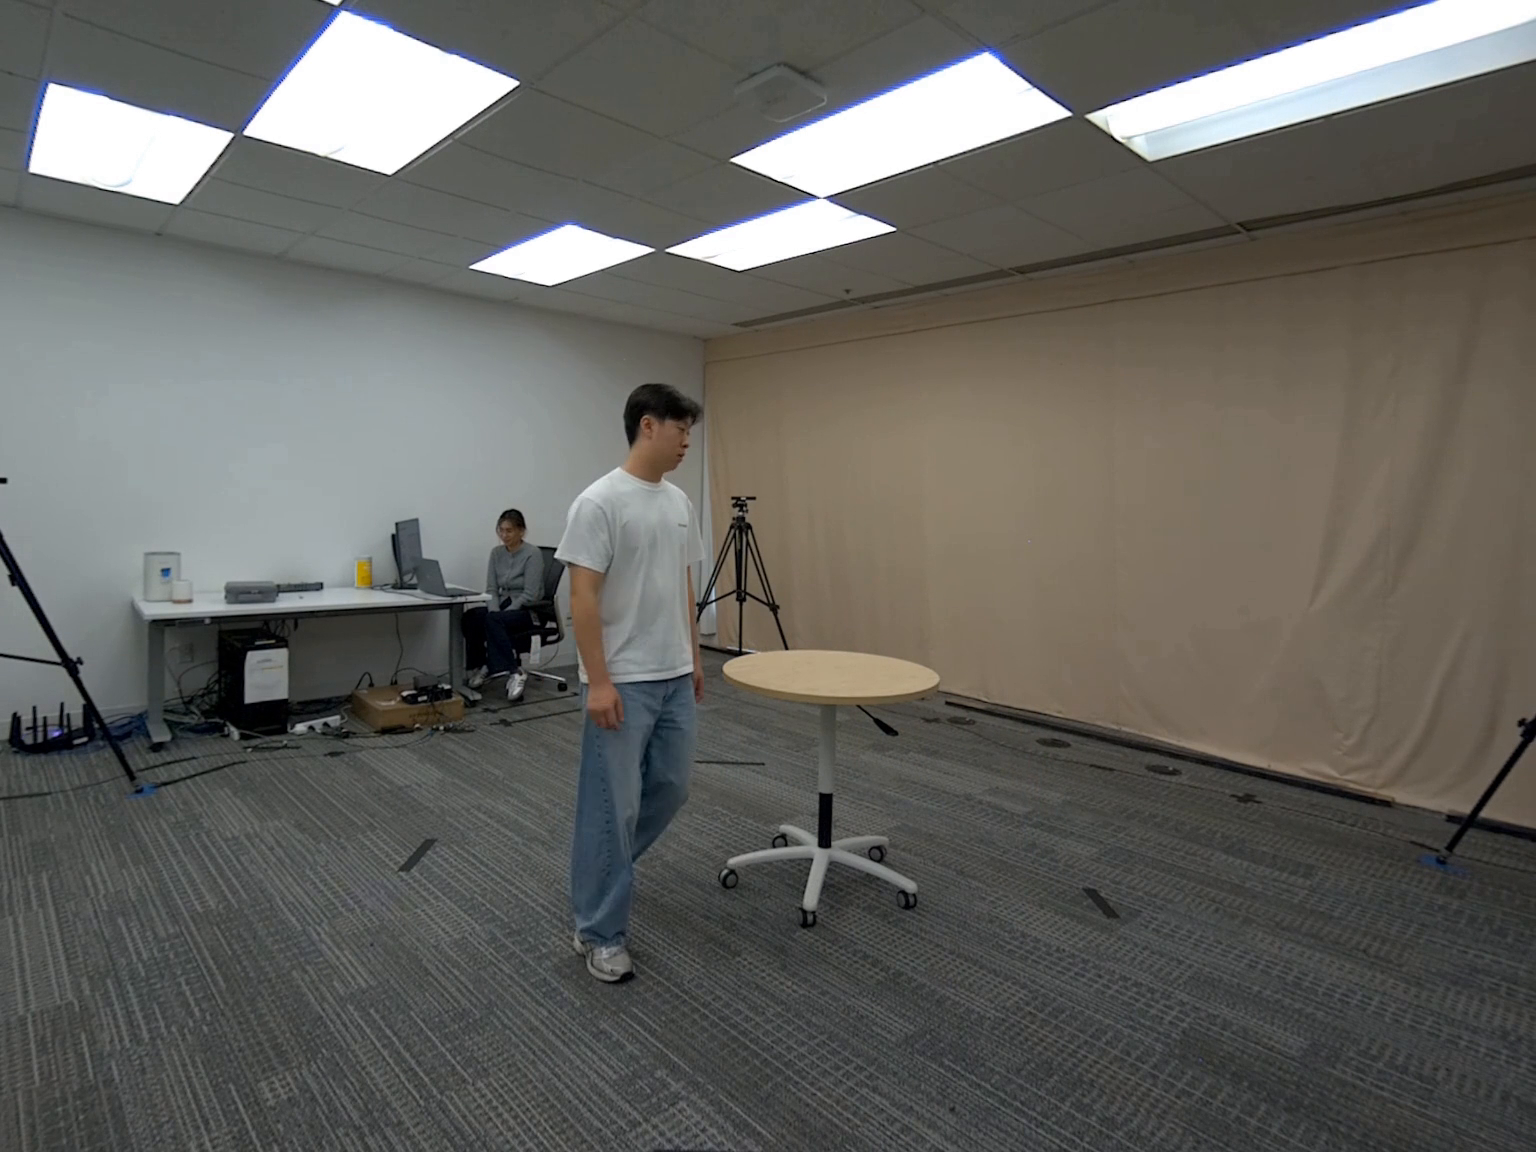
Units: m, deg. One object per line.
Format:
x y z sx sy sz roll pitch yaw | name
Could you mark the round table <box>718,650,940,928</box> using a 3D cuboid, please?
0.201 0.732 3.030 0.763 0.792 0.767 2 4 -1 | round table
